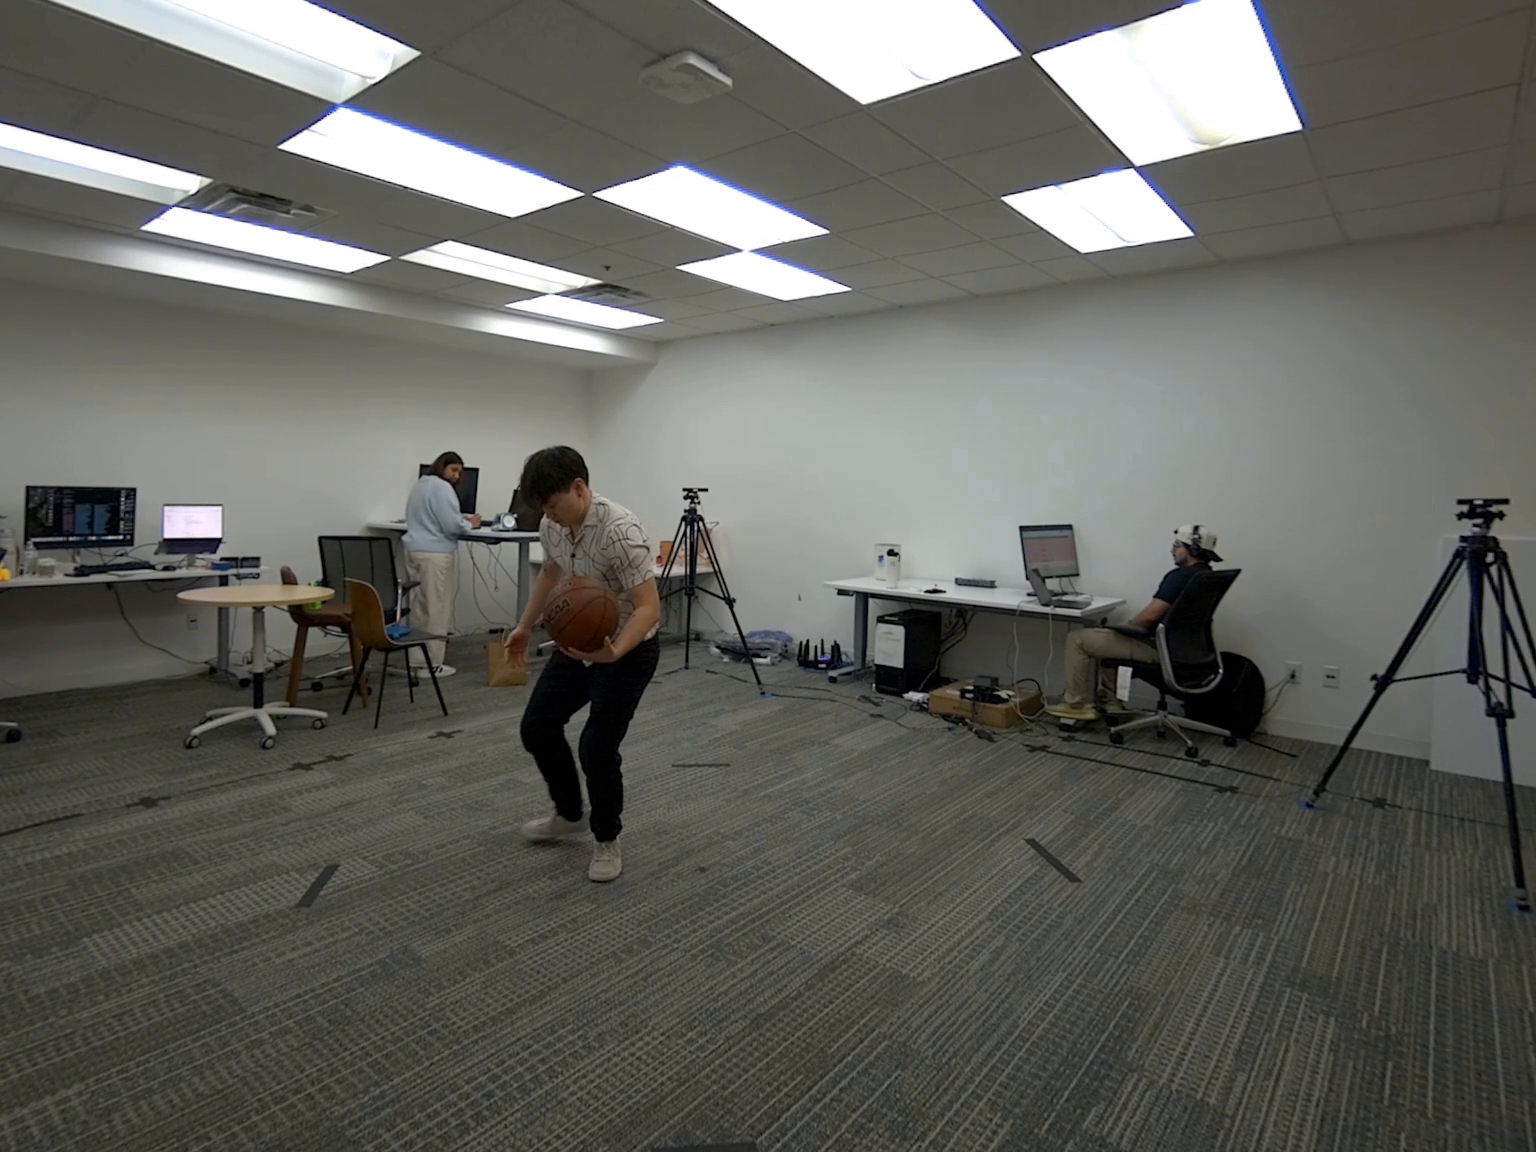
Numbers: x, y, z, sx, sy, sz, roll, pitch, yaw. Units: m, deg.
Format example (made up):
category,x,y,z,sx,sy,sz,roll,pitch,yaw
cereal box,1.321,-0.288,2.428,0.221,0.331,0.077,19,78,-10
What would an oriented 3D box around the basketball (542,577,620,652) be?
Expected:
category,x,y,z,sx,sy,sz,roll,pitch,yaw
basketball,-0.596,0.122,2.661,0.235,0.235,0.237,1,4,-2
